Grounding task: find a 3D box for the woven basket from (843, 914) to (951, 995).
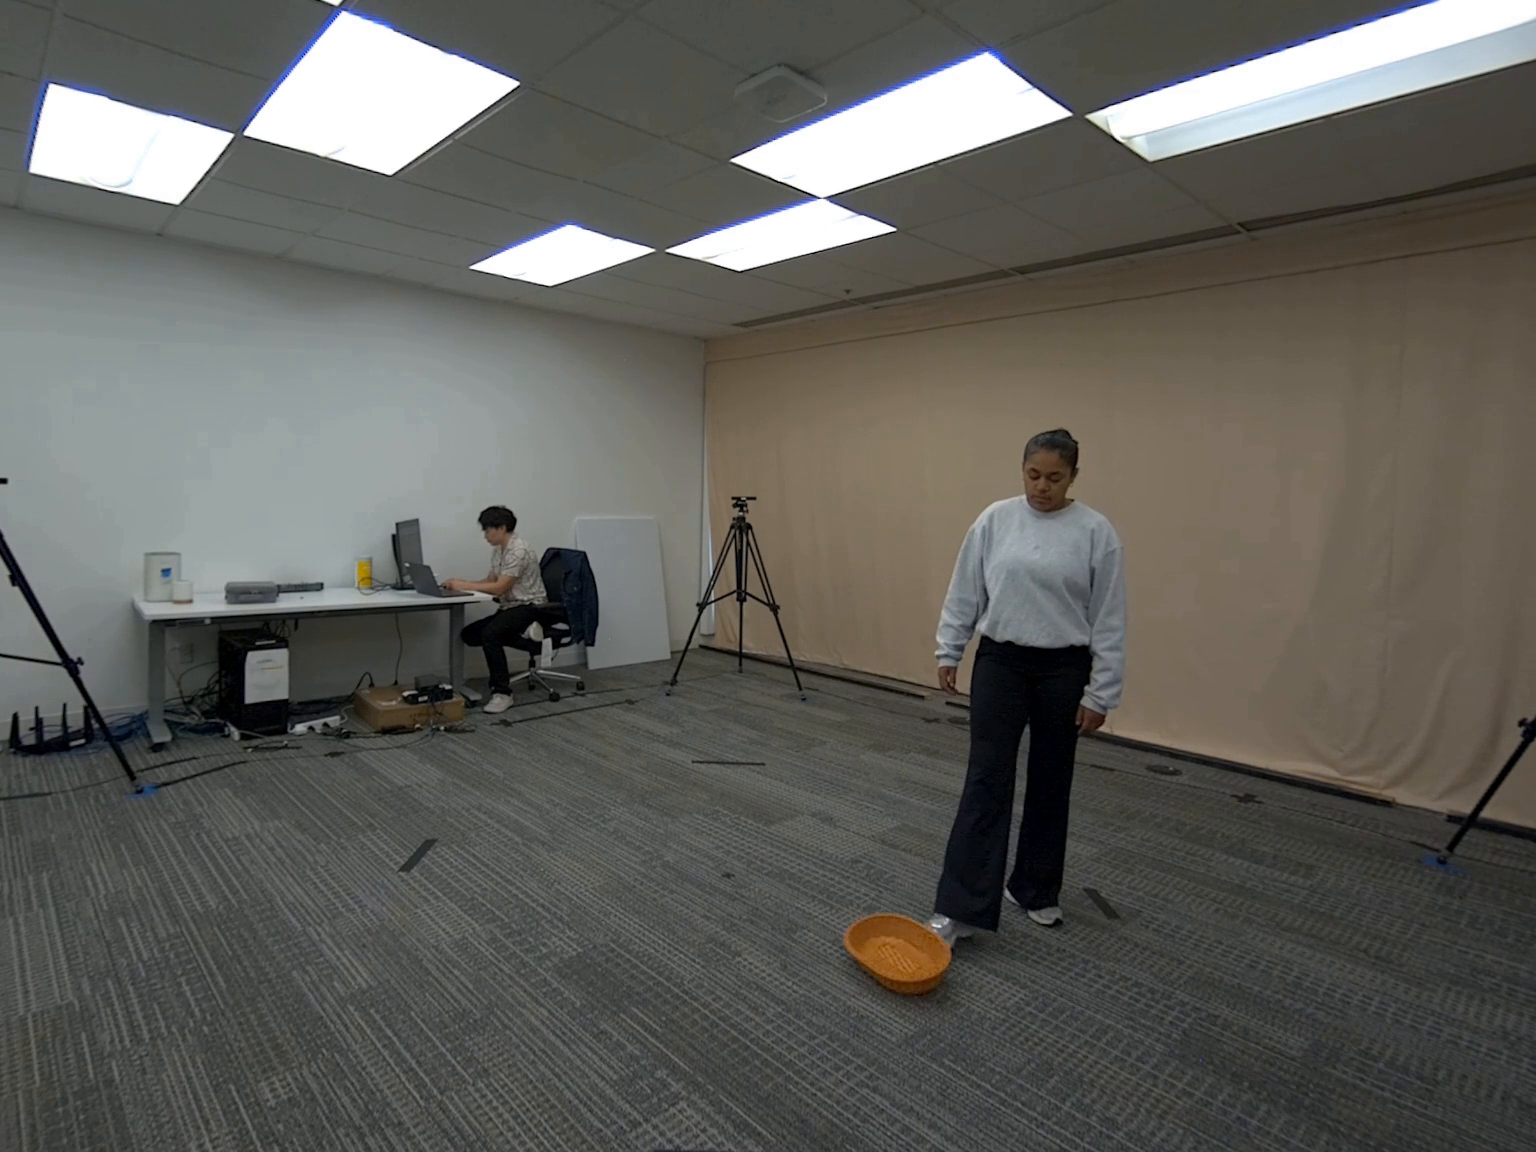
[{"bbox_3d":[0.390,1.132,2.503,0.248,0.073,0.358,-11,11,-28],"label":"woven basket"}]
